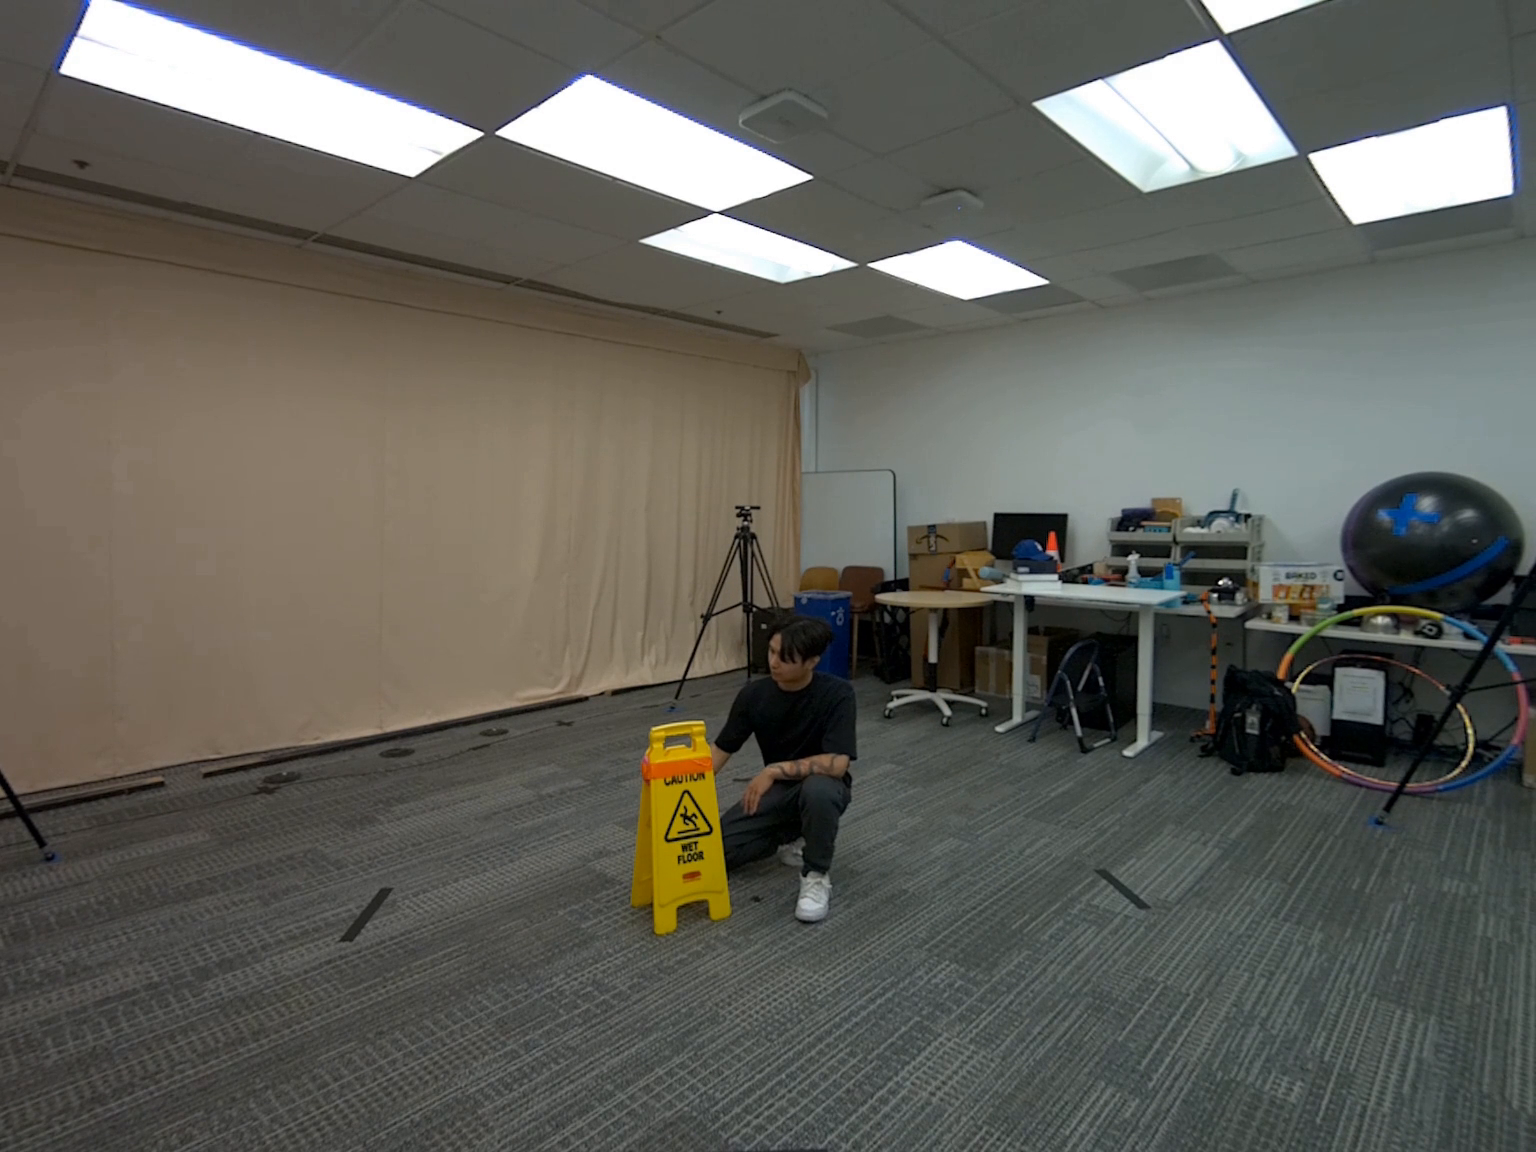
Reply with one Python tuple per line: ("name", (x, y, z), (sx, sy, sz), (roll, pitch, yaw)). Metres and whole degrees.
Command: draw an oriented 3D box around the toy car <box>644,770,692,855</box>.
("toy car", (-0.351, 0.827, 2.969), (0.128, 0.251, 0.086), (-12, 26, -24))
